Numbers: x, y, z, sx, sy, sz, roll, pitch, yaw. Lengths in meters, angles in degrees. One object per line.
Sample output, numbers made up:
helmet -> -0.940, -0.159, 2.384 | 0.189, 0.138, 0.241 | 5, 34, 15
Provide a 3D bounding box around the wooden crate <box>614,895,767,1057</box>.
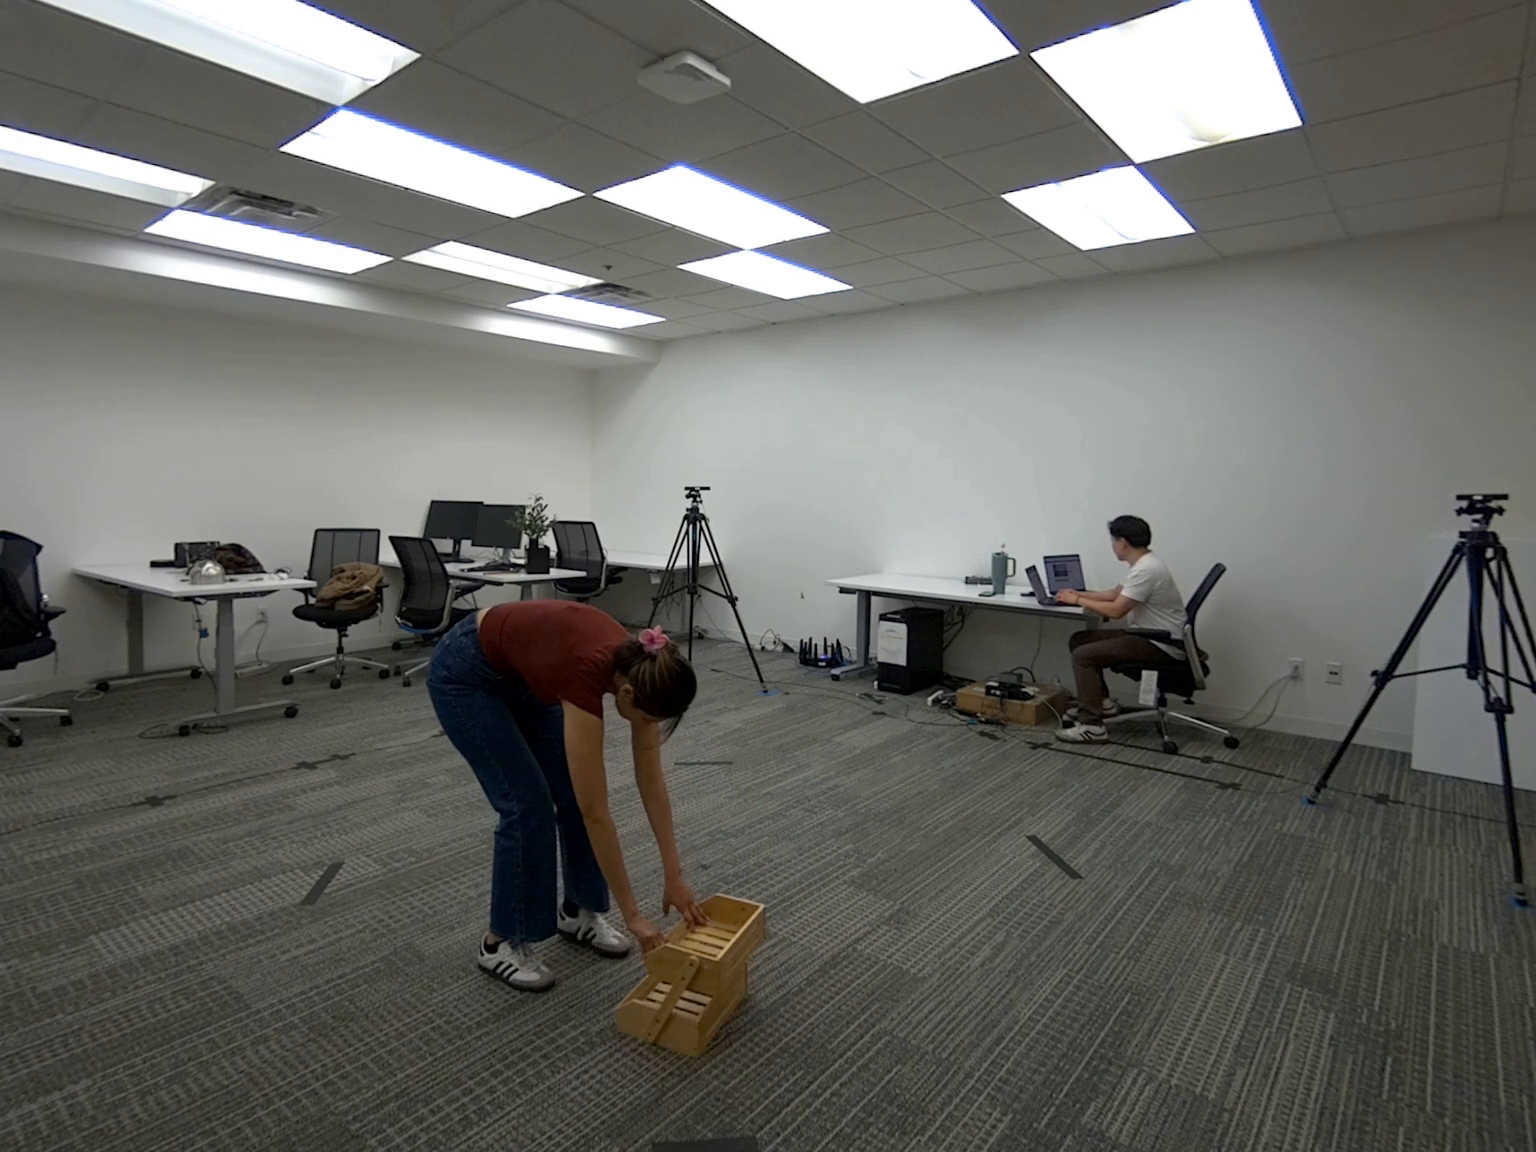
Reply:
wooden crate -> -0.208, 1.021, 2.240 | 0.310, 0.272, 0.317 | 3, 5, 24
